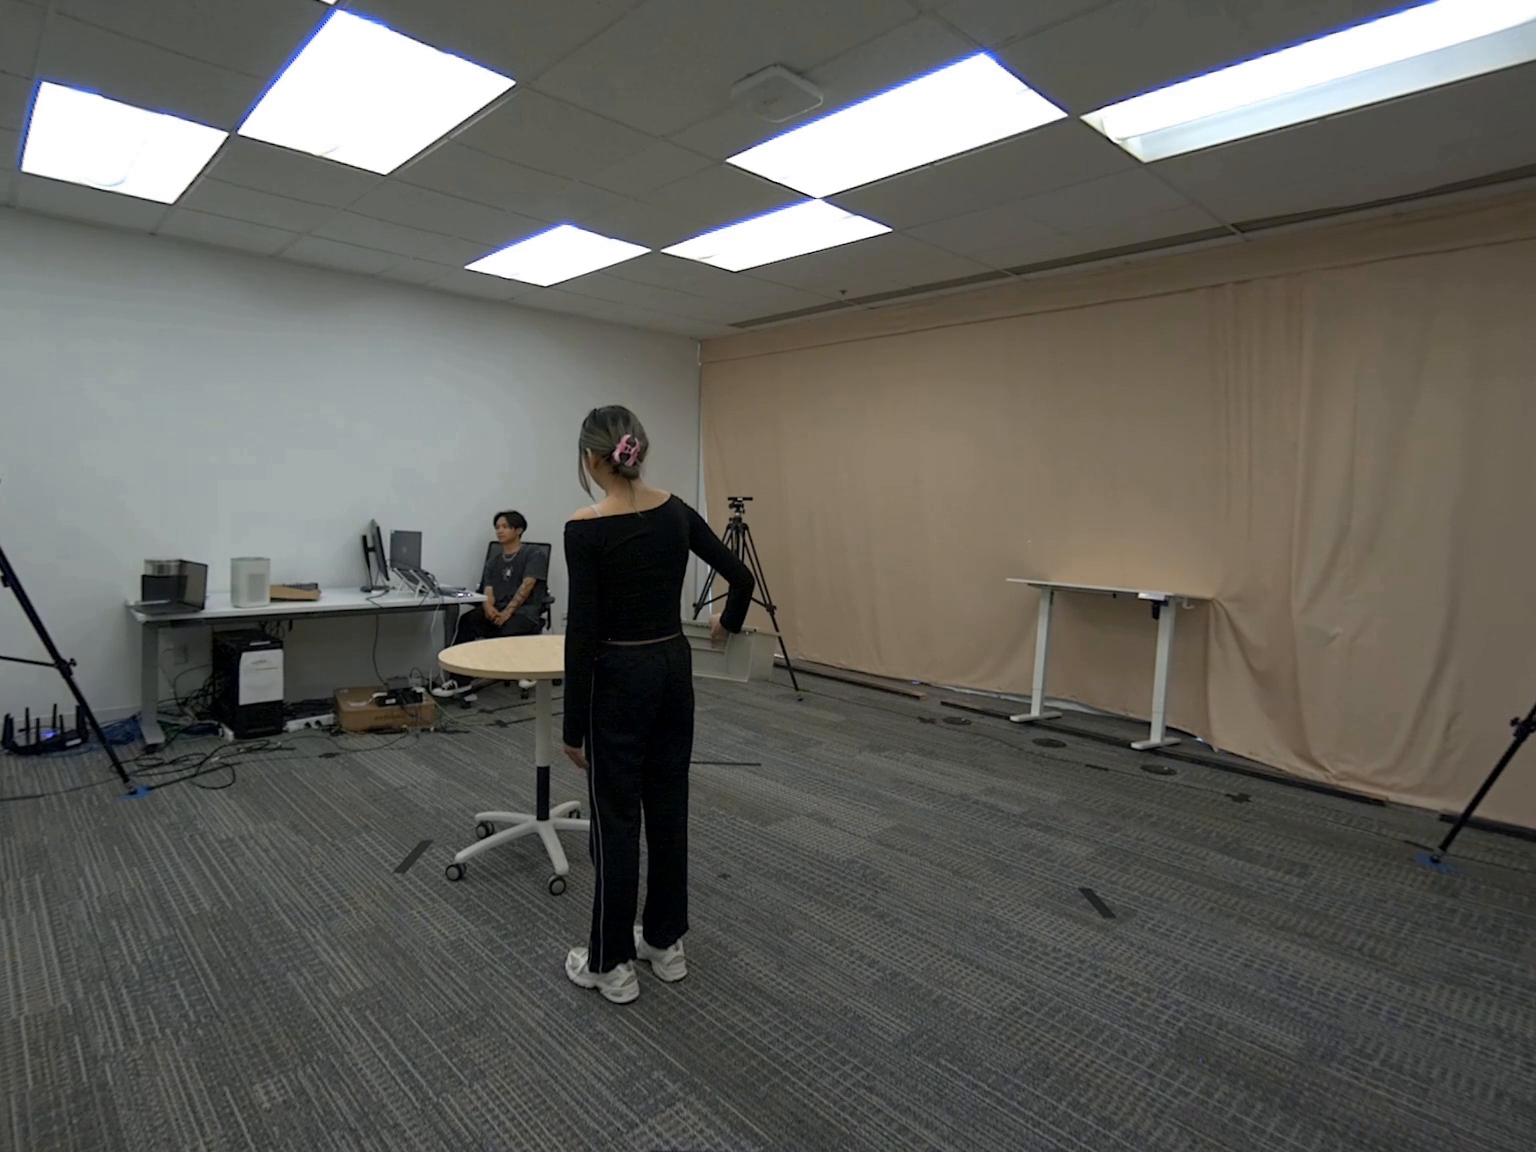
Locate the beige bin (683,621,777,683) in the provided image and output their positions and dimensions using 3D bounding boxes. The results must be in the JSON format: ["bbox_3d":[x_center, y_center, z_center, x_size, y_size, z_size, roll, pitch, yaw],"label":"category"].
[{"bbox_3d":[-0.184,0.258,2.956,0.382,0.189,0.416,7,-3,14],"label":"beige bin"}]
